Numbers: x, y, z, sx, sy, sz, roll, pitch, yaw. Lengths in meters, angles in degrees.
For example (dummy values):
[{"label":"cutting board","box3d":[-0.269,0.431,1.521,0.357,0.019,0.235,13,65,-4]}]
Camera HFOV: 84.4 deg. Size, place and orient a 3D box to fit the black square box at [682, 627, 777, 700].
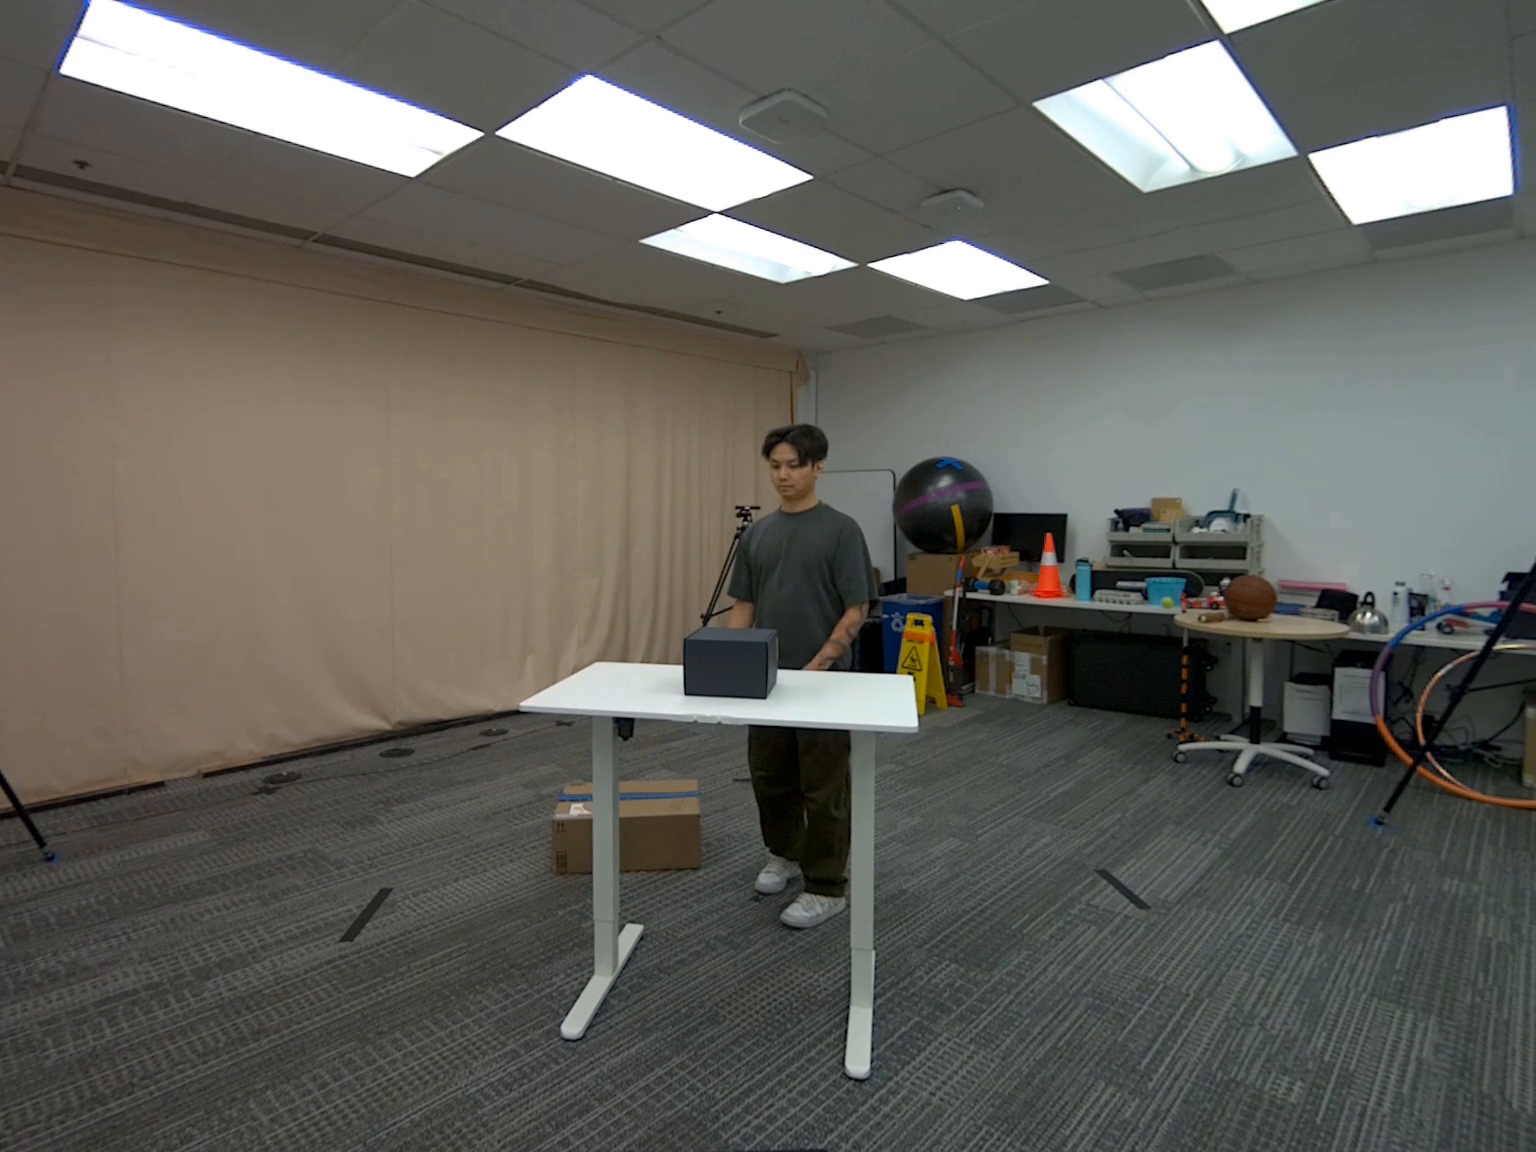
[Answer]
[{"label":"black square box","box3d":[-0.097,0.236,2.340,0.231,0.155,0.215,2,5,11]}]
